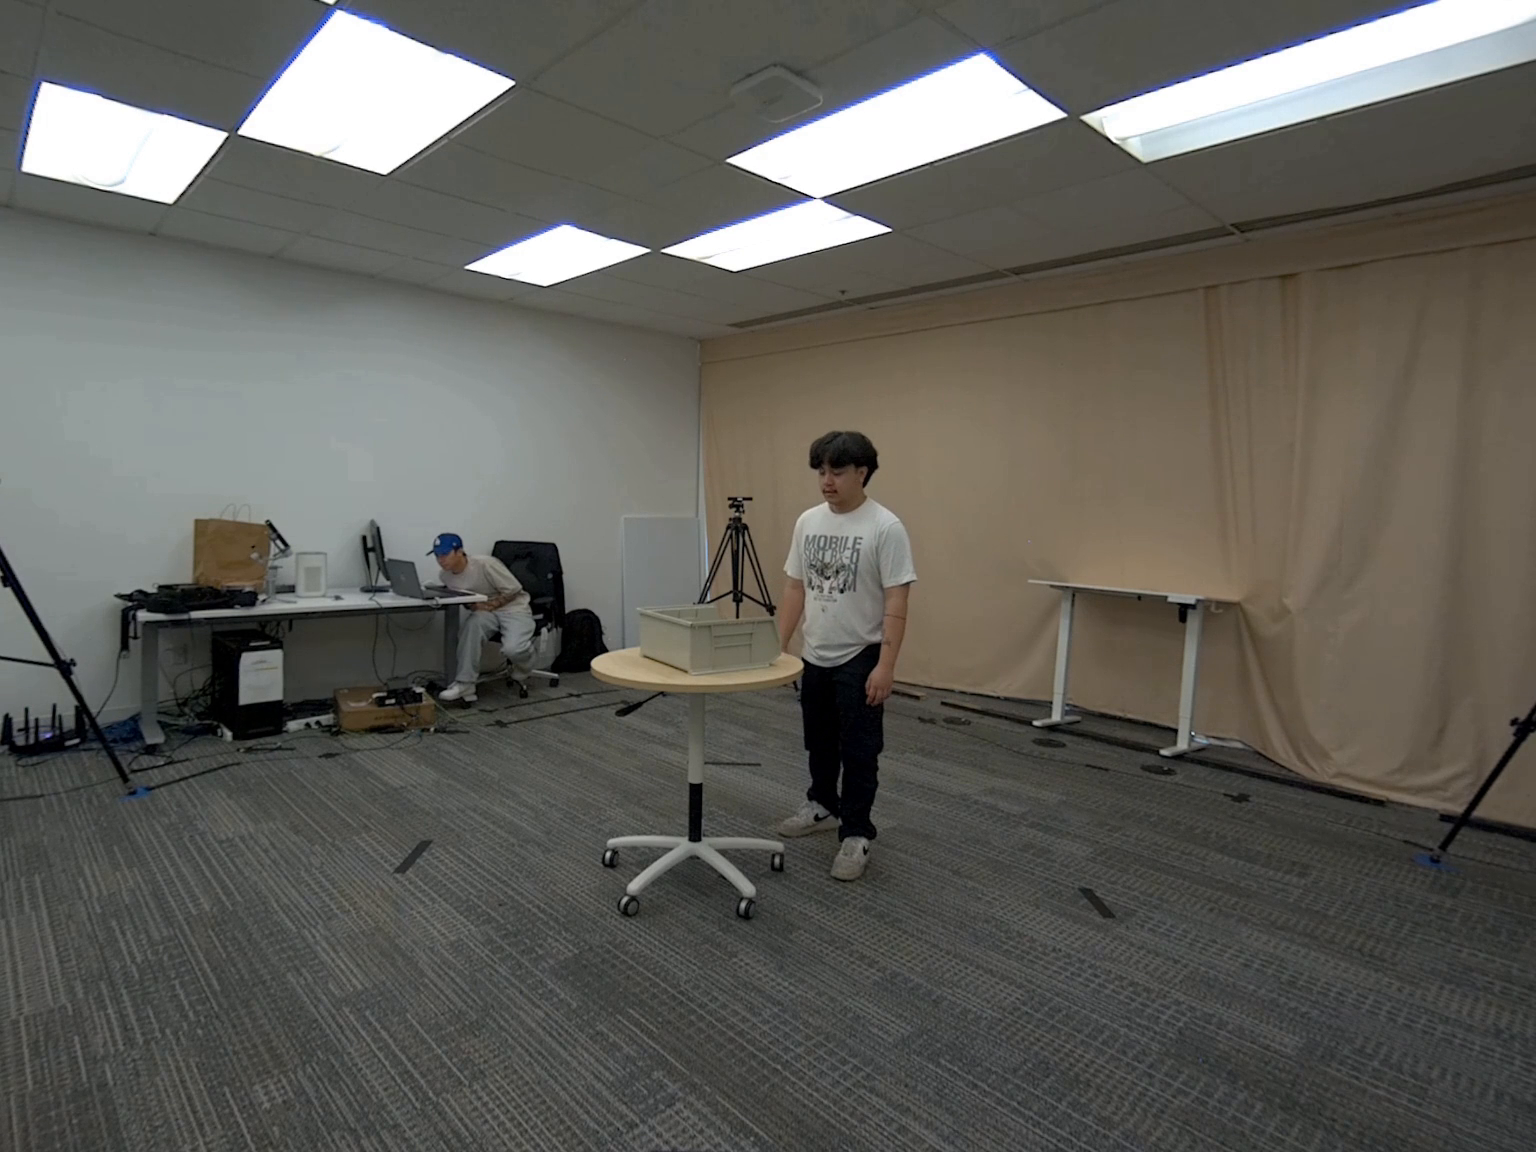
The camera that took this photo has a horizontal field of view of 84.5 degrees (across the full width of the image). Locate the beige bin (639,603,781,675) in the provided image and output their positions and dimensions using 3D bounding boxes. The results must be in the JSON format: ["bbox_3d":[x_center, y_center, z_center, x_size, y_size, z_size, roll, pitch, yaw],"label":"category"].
[{"bbox_3d":[-0.227,0.221,3.059,0.369,0.188,0.433,-4,7,-33],"label":"beige bin"}]
